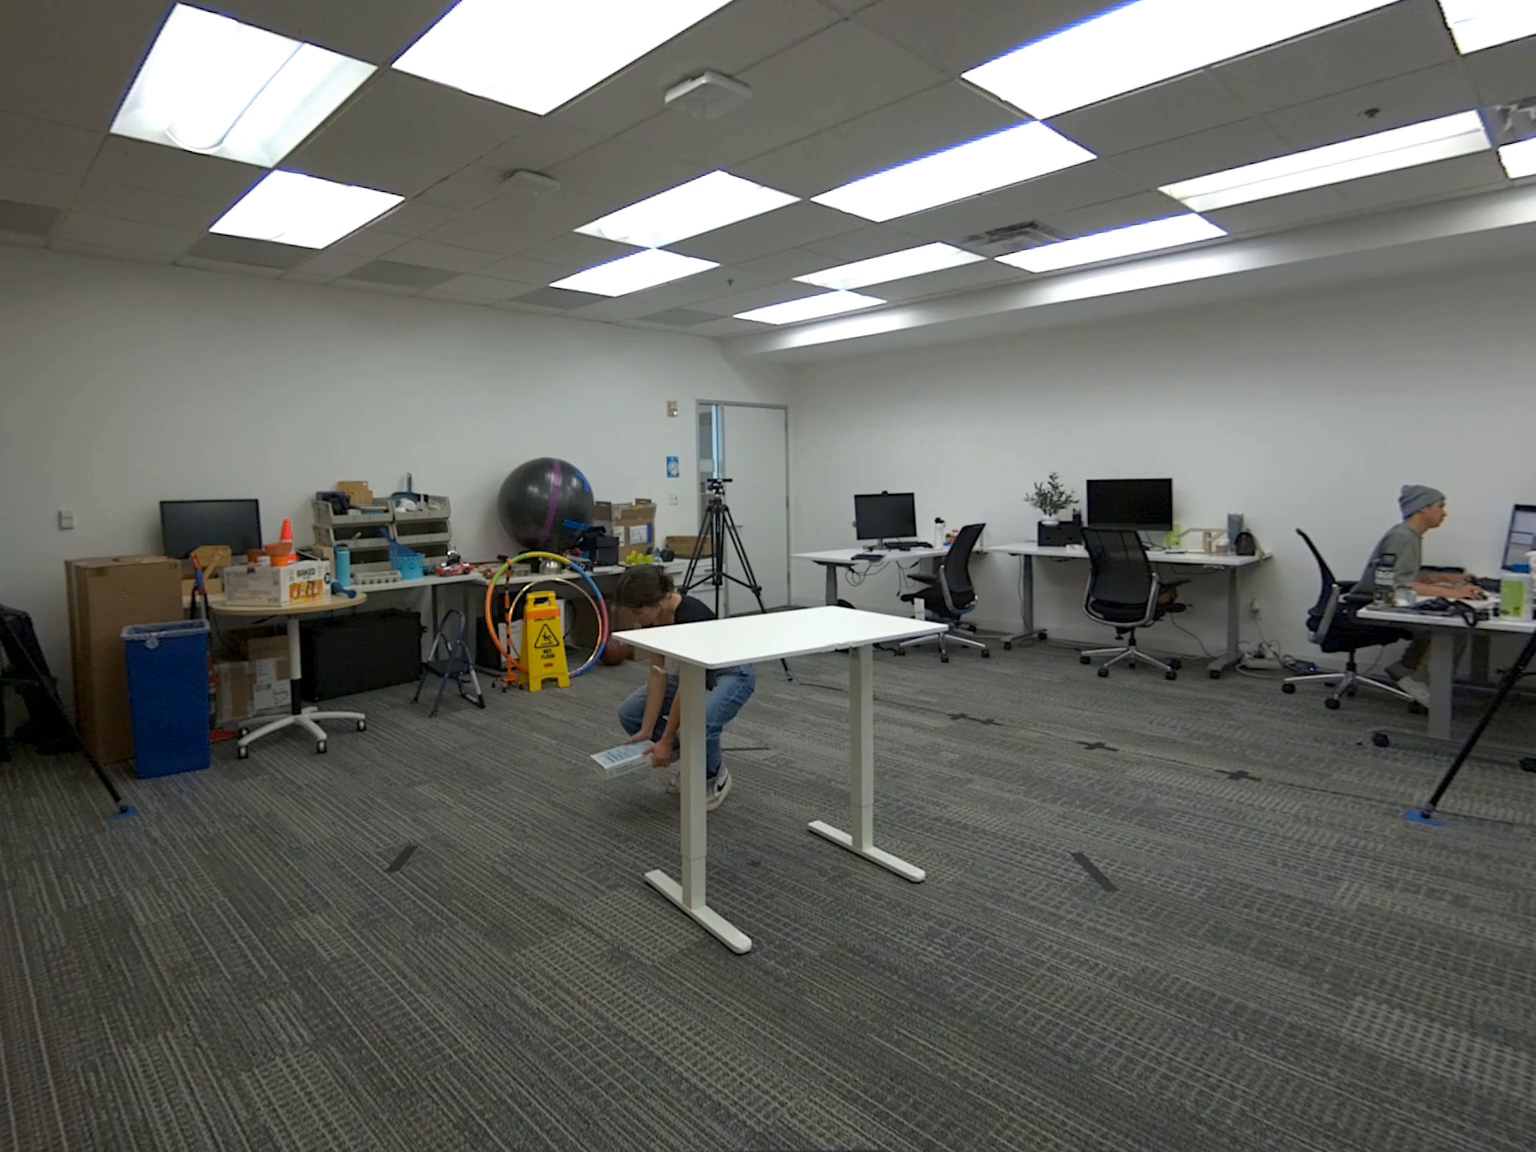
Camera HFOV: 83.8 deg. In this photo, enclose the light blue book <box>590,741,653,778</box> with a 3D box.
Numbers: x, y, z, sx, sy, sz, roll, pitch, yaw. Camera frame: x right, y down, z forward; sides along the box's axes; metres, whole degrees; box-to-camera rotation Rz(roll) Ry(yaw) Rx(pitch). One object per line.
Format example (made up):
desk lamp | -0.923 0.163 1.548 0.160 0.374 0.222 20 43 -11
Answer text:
light blue book | -0.595 0.769 3.588 0.256 0.058 0.196 -13 9 -28
